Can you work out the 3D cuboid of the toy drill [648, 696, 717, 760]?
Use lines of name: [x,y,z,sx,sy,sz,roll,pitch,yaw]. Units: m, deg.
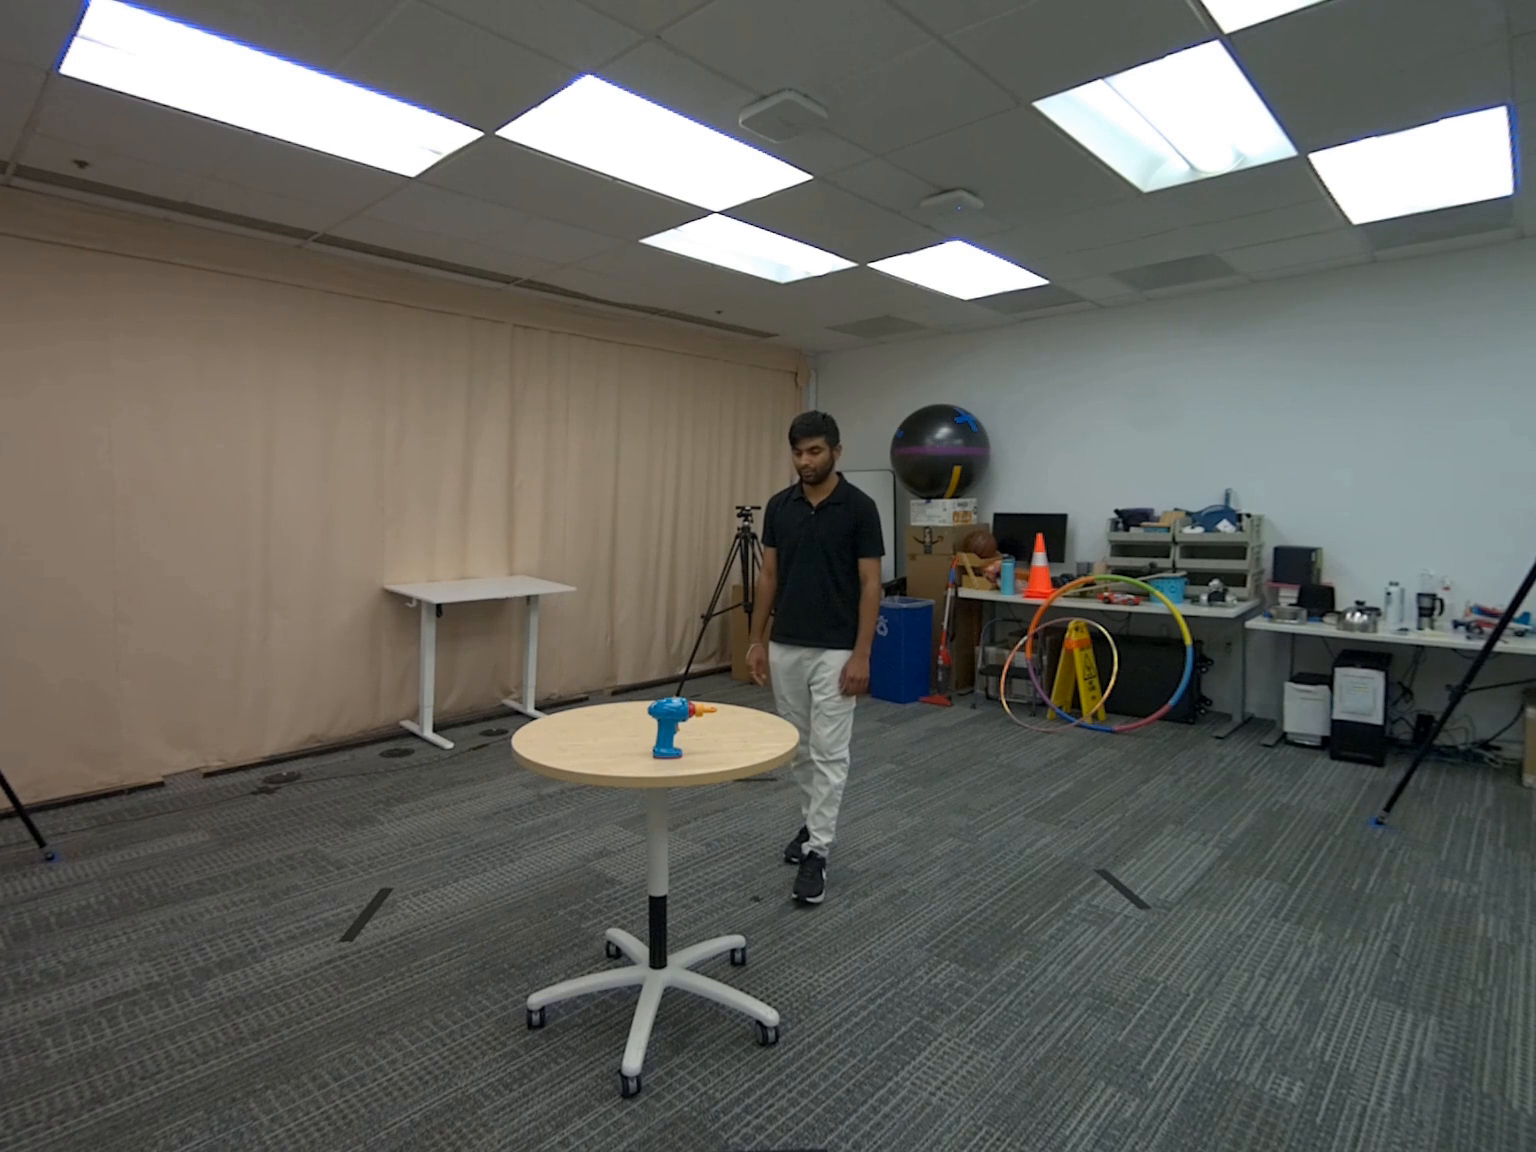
toy drill: [-0.201,0.368,2.033,0.169,0.146,0.061,0,1,-4]
